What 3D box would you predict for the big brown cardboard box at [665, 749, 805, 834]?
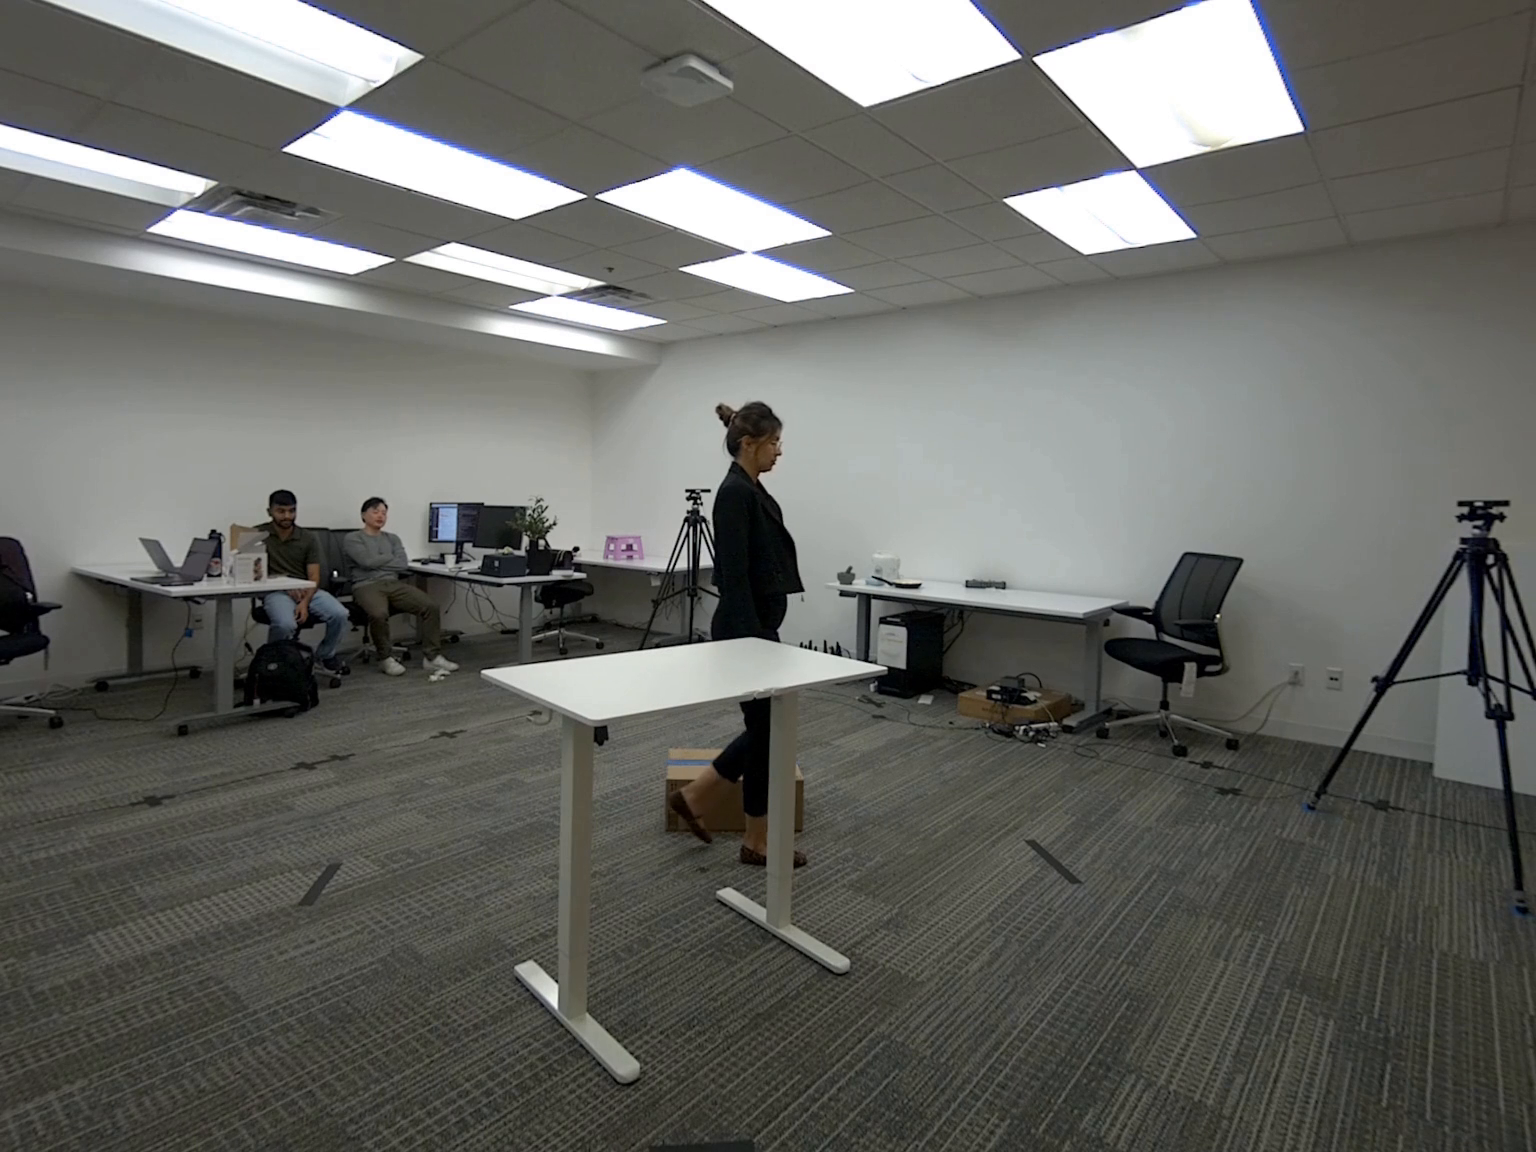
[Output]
[{"bbox_3d":[-0.160,0.908,3.669,0.587,0.232,0.421,0,5,-4],"label":"big brown cardboard box"}]
